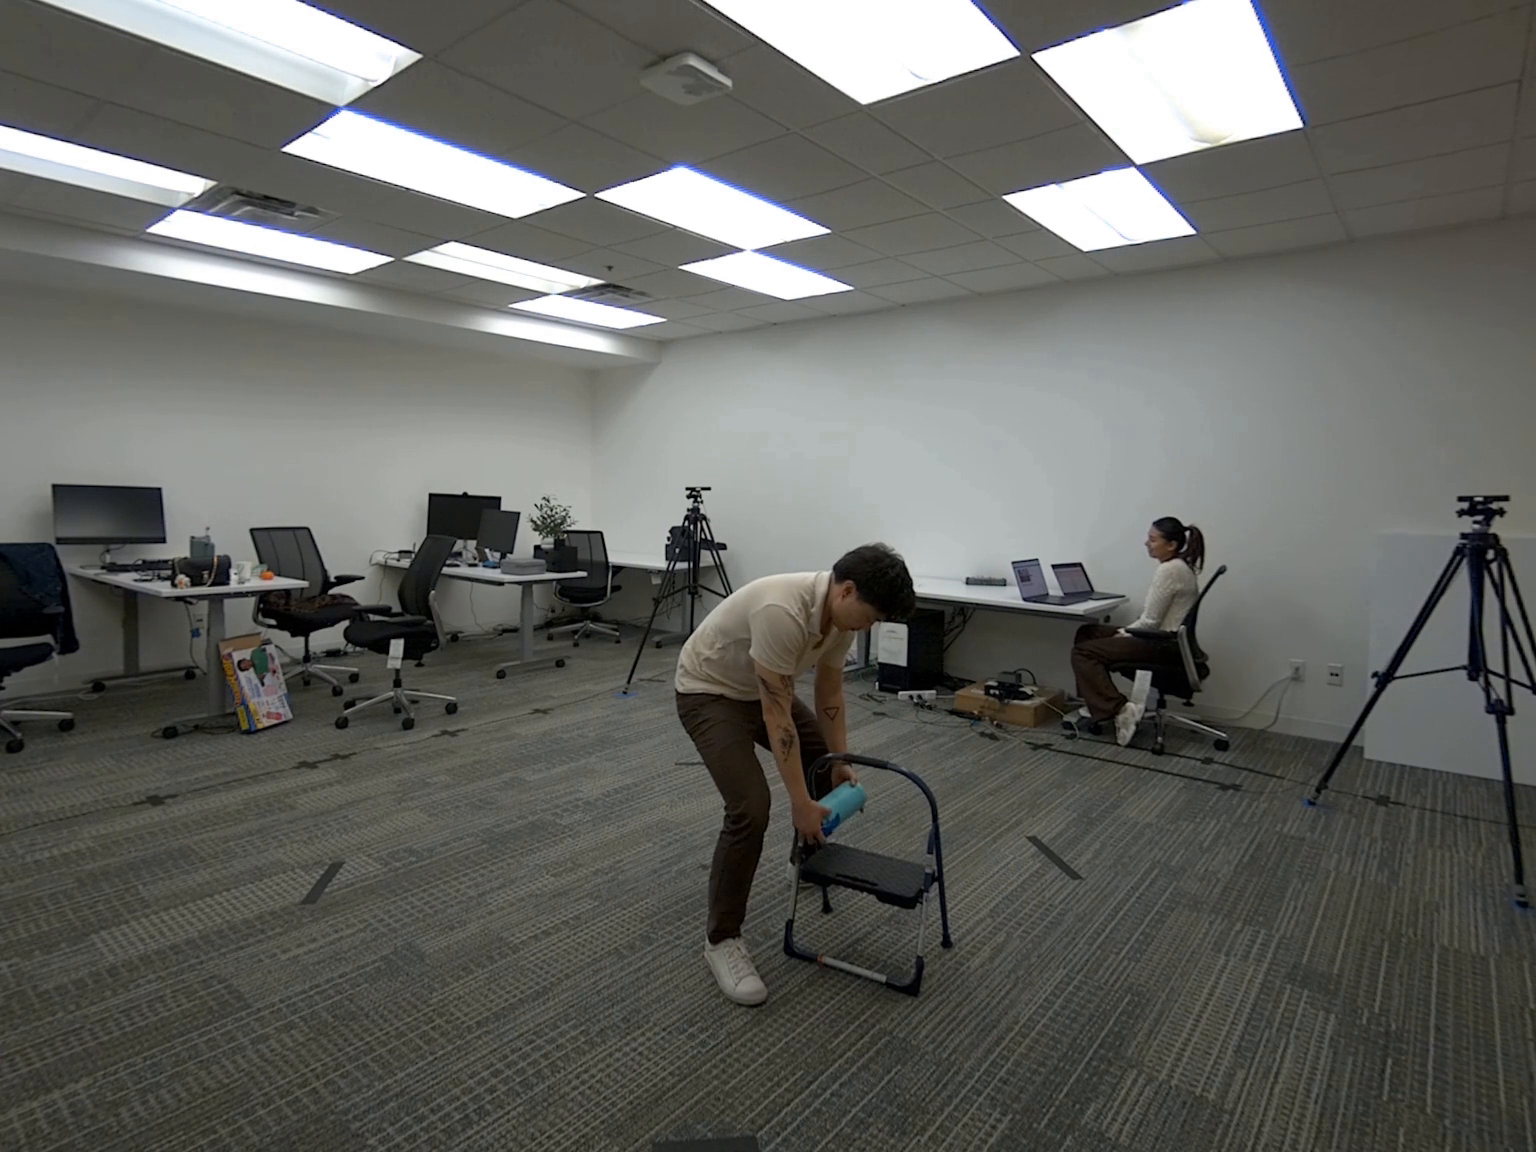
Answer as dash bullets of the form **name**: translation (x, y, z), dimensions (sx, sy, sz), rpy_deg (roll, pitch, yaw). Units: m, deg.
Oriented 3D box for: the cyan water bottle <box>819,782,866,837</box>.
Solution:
- **cyan water bottle**: translation (0.192, 0.690, 2.500), dimensions (0.095, 0.091, 0.277), rpy_deg (3, 10, 33)
